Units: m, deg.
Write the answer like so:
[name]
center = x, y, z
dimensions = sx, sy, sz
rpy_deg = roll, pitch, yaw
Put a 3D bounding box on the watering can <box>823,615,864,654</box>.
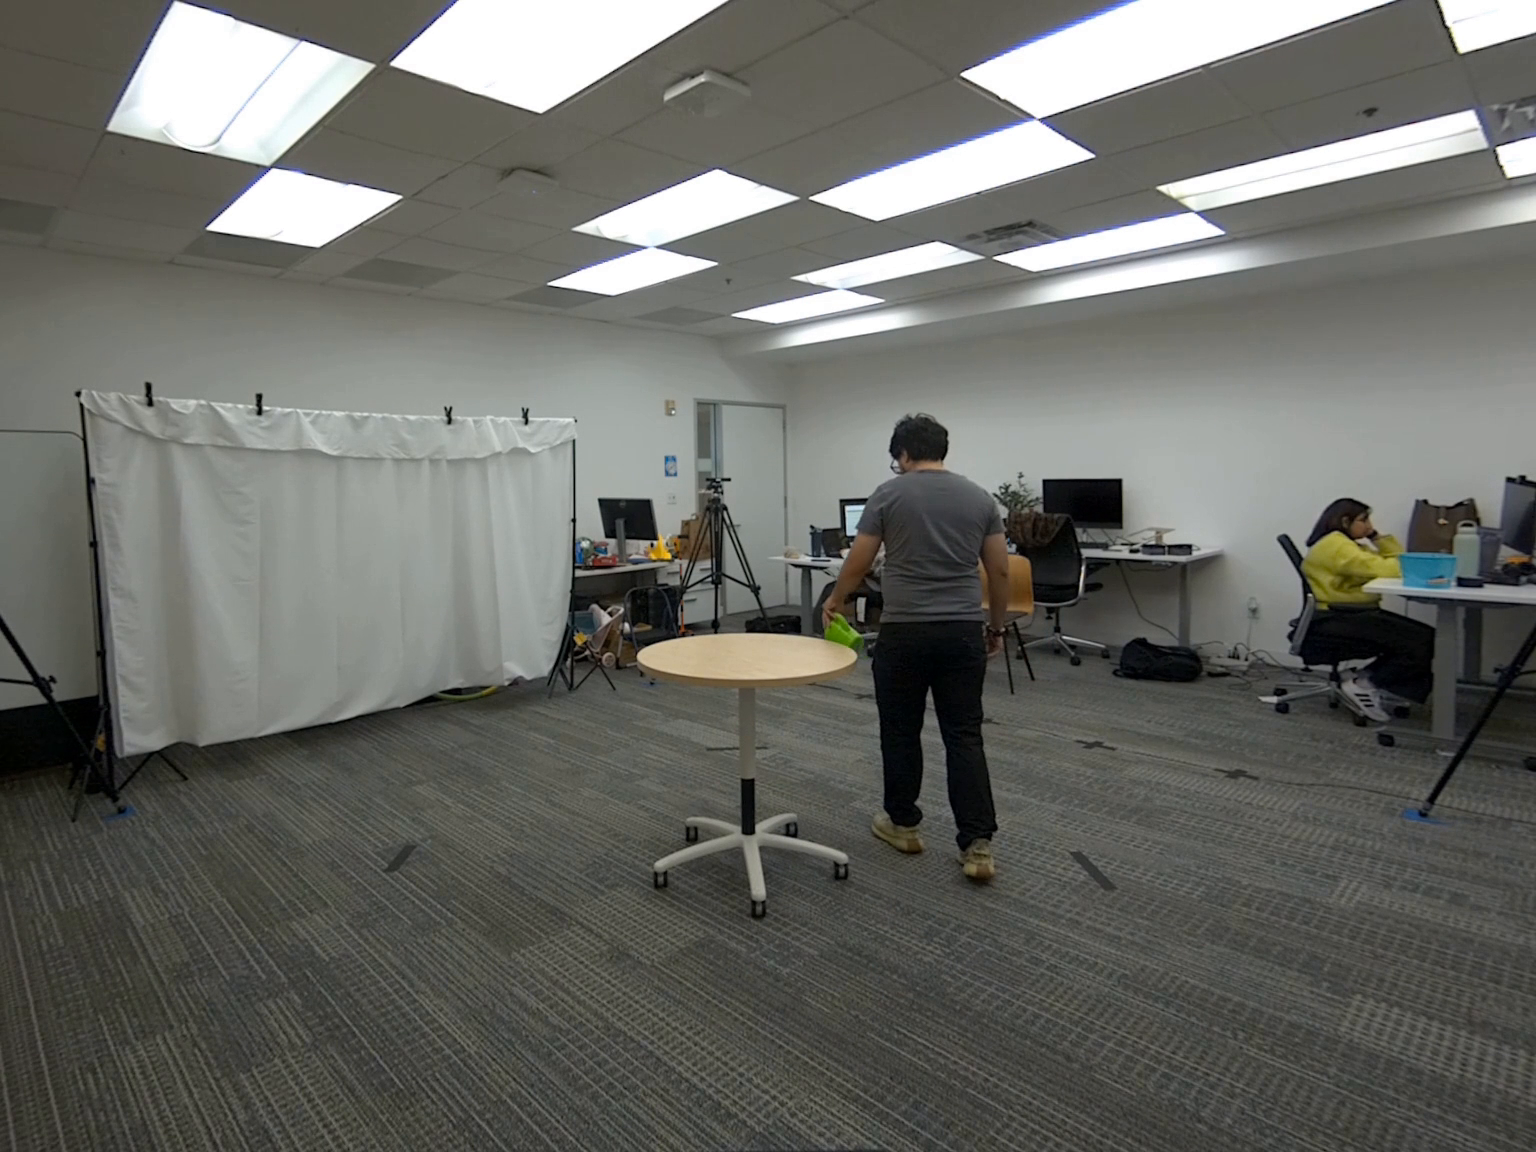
[watering can]
center = 0.292, 0.263, 3.437
dimensions = 0.097, 0.269, 0.183
rpy_deg = -33, 54, -16
